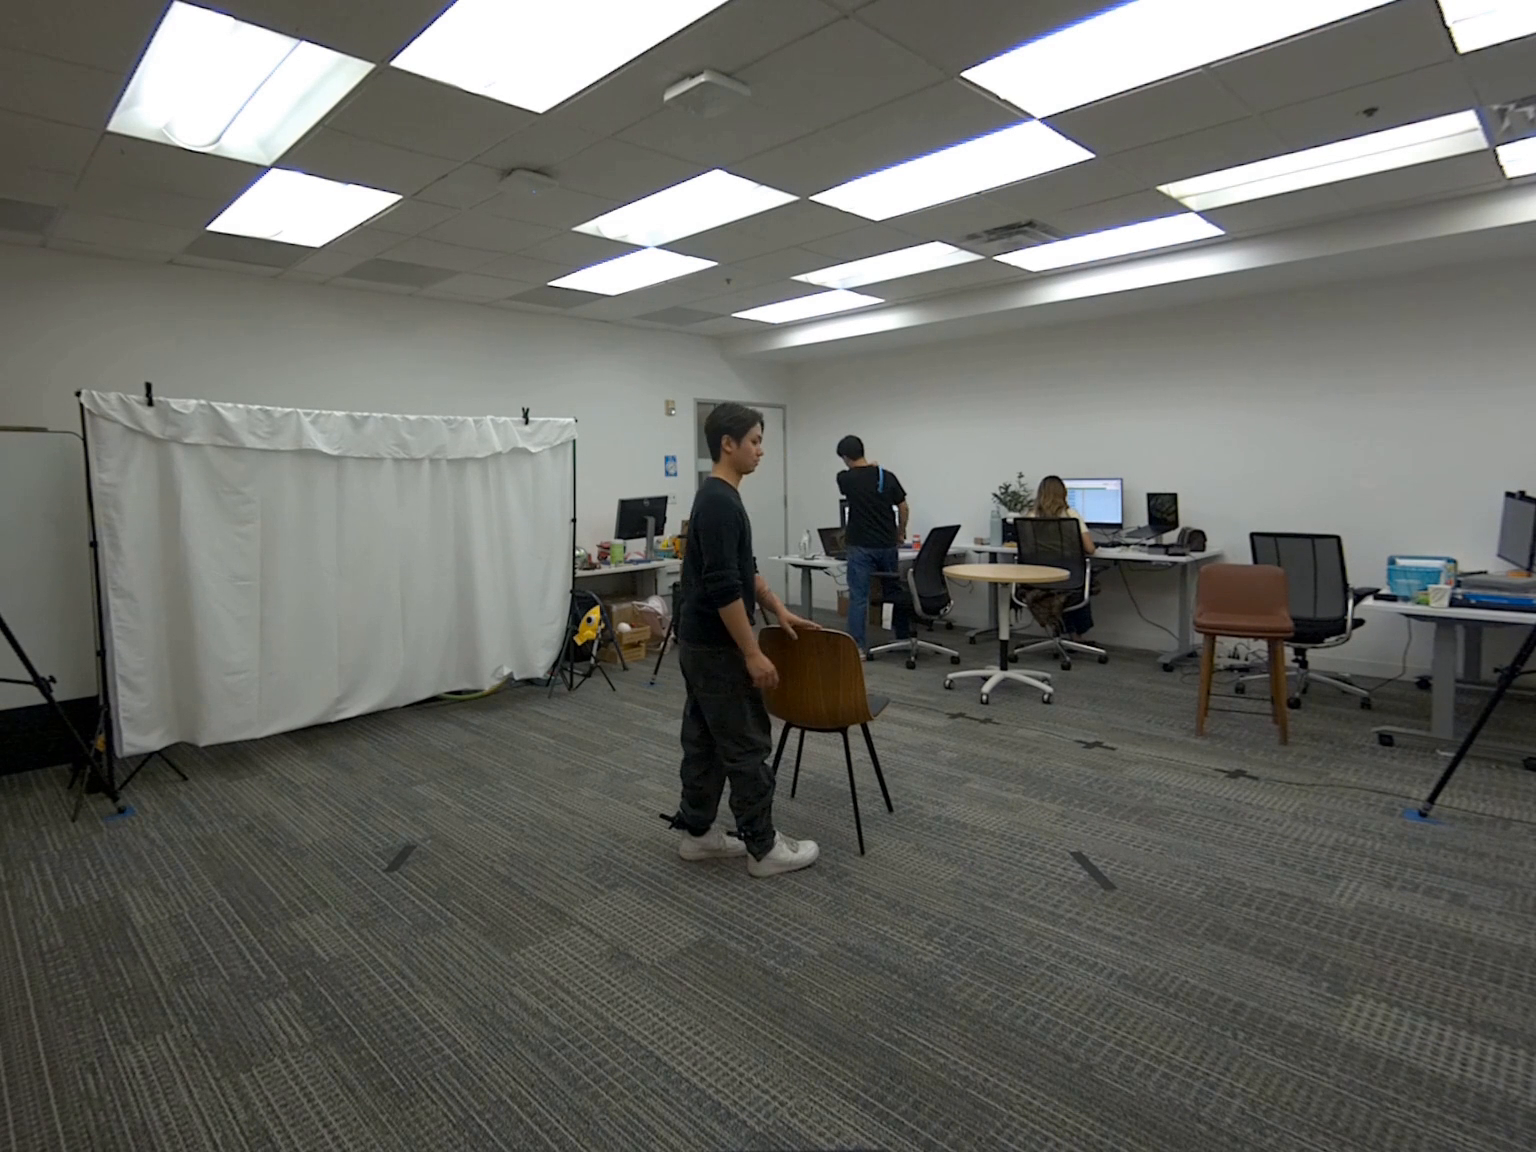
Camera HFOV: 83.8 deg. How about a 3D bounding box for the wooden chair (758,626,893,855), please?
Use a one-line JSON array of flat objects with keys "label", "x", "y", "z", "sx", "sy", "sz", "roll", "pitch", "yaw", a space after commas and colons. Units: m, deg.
[{"label": "wooden chair", "x": 0.222, "y": 0.572, "z": 3.429, "sx": 0.489, "sy": 0.871, "sz": 0.516, "roll": 1, "pitch": 9, "yaw": 24}]
